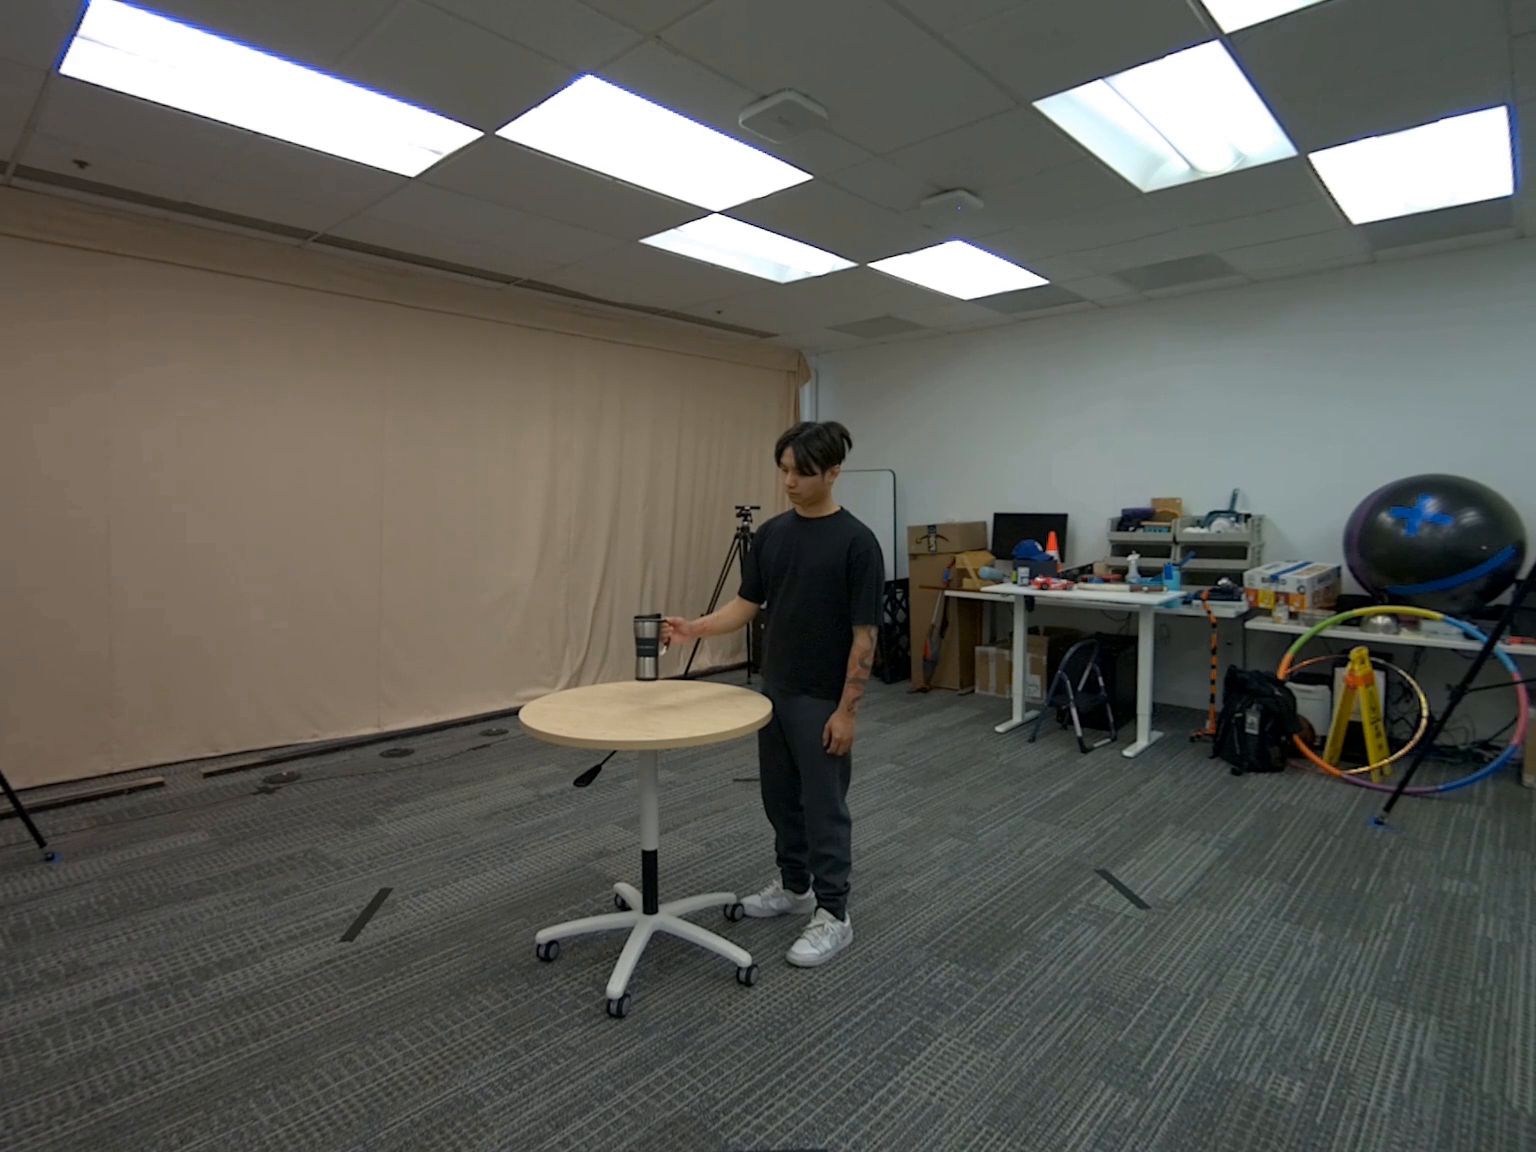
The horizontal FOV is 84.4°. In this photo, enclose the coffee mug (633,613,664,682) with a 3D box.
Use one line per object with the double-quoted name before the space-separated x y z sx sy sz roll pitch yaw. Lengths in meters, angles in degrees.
"coffee mug" -0.350 0.219 2.567 0.125 0.204 0.085 -5 -8 36
